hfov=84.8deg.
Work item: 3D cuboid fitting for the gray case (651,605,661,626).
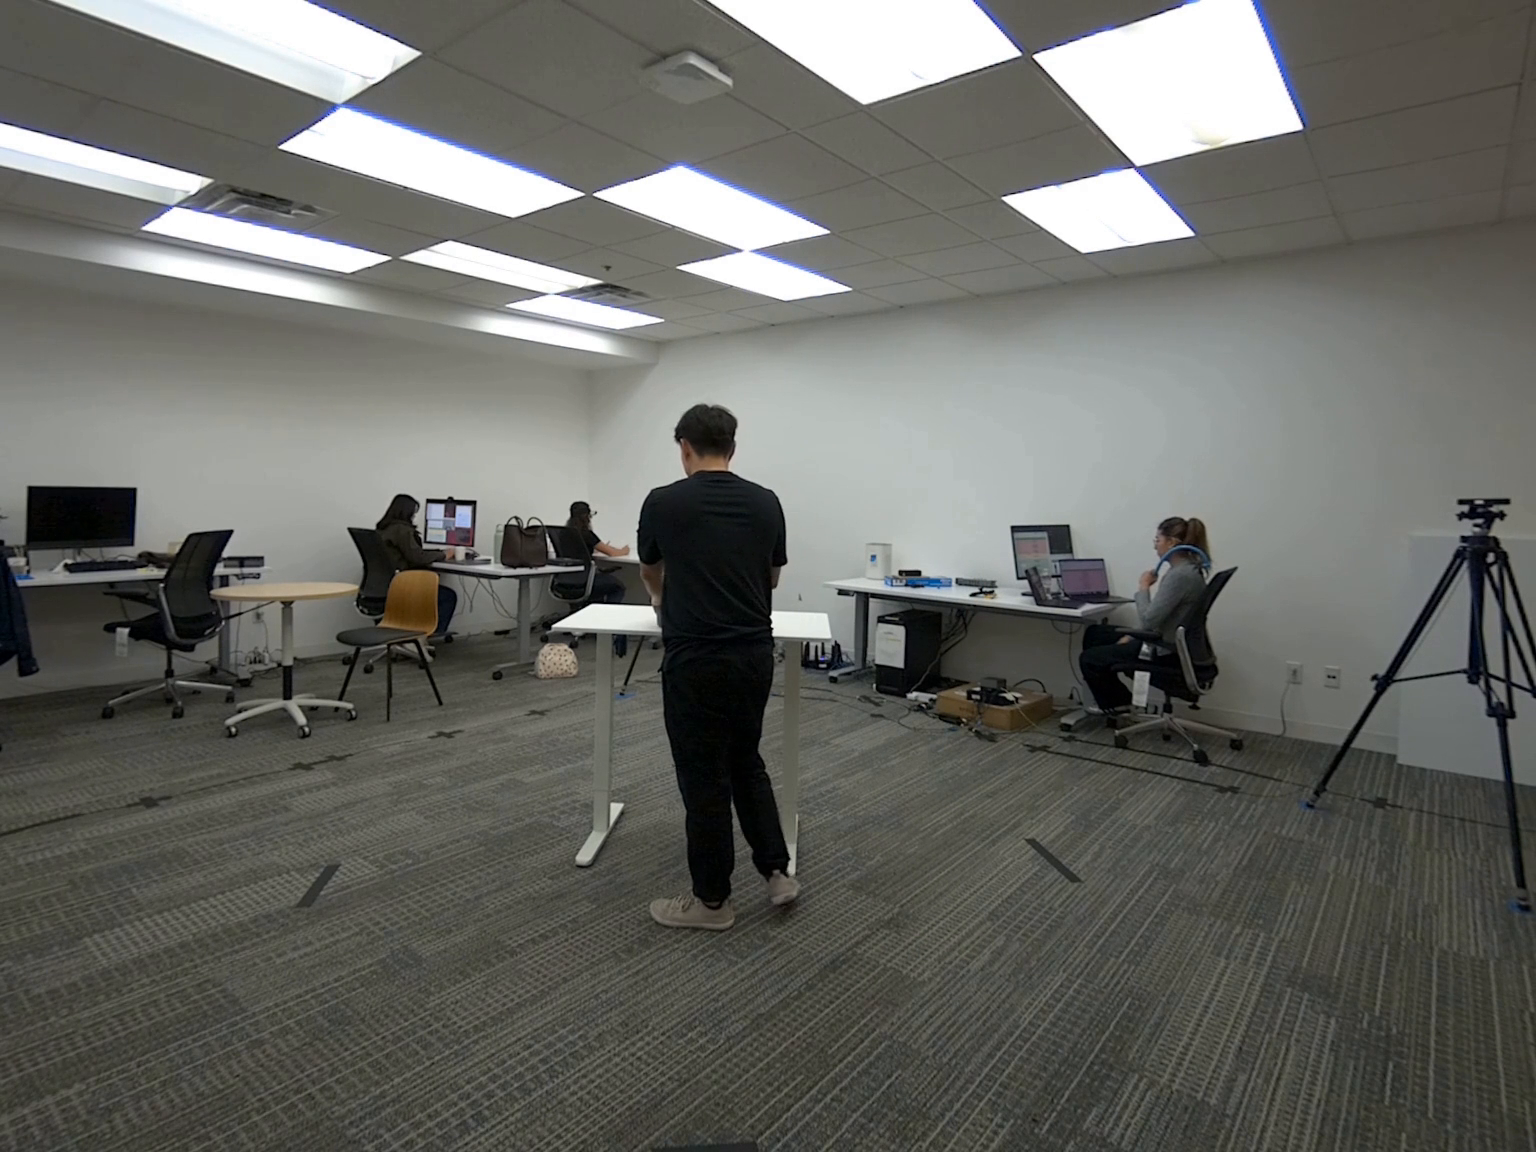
[{"bbox_3d":[-0.275,0.125,3.199,0.260,0.104,0.259,1,5,10],"label":"gray case"}]
